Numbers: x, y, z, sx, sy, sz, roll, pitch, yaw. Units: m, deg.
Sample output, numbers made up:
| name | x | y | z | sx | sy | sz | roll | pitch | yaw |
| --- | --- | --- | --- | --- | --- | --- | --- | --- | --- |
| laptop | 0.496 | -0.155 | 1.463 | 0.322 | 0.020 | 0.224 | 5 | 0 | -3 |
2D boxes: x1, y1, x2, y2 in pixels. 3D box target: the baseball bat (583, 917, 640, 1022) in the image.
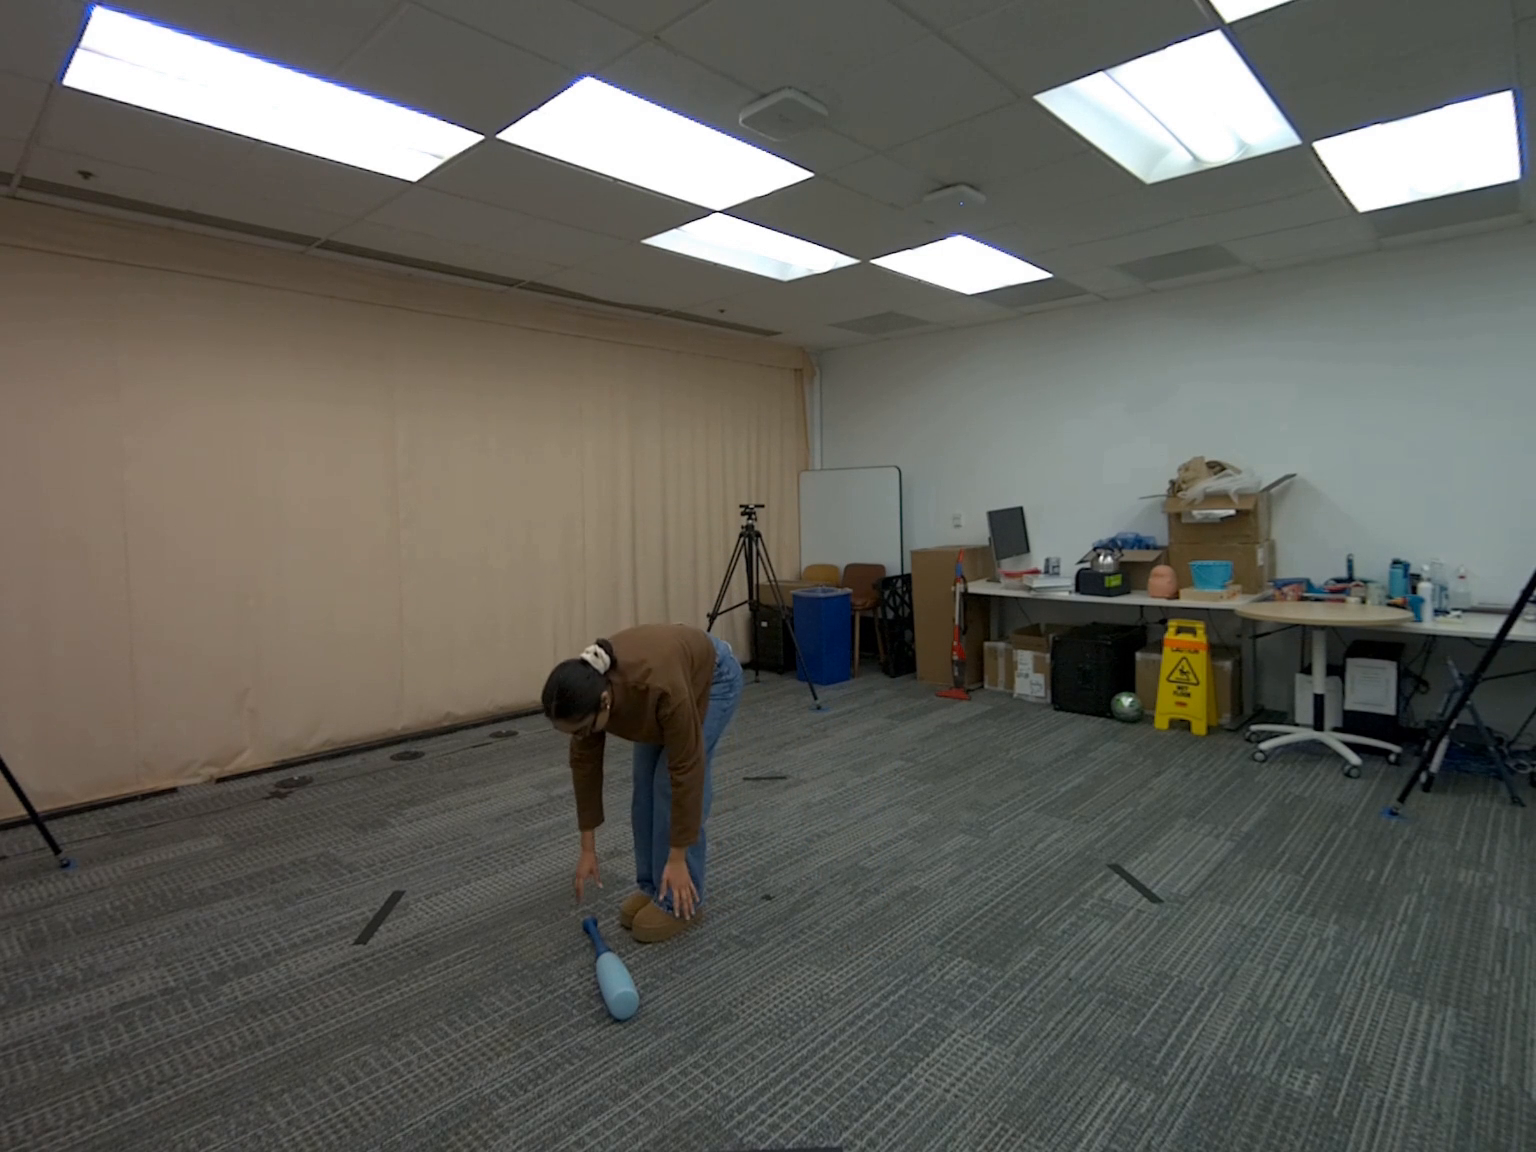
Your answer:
| name | x | y | z | sx | sy | sz | roll | pitch | yaw |
| --- | --- | --- | --- | --- | --- | --- | --- | --- | --- |
| baseball bat | -0.480 | 1.148 | 2.522 | 0.087 | 0.089 | 0.554 | -2 | 2 | -21 |
